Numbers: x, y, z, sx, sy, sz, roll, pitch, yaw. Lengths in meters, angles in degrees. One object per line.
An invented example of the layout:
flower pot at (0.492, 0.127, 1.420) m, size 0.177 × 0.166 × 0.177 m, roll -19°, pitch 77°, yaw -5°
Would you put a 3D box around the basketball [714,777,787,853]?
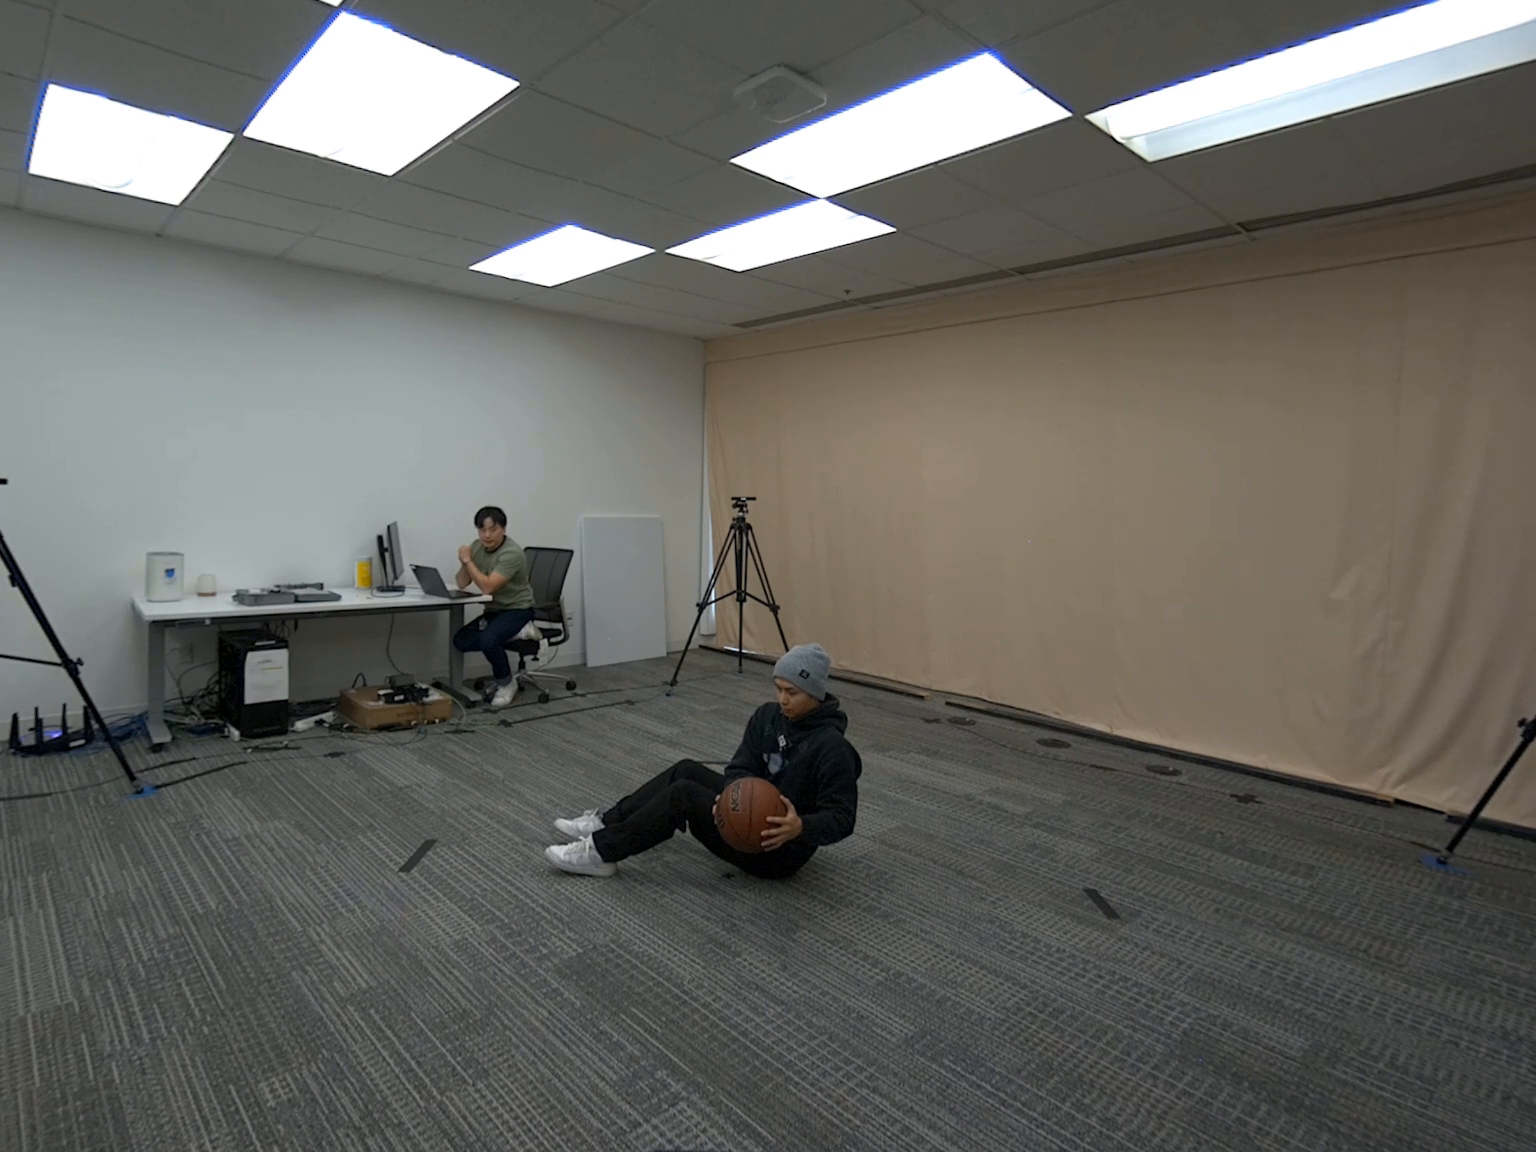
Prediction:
basketball at (-0.075, 0.784, 2.791) m, size 0.236 × 0.235 × 0.237 m, roll 1°, pitch 4°, yaw -1°
